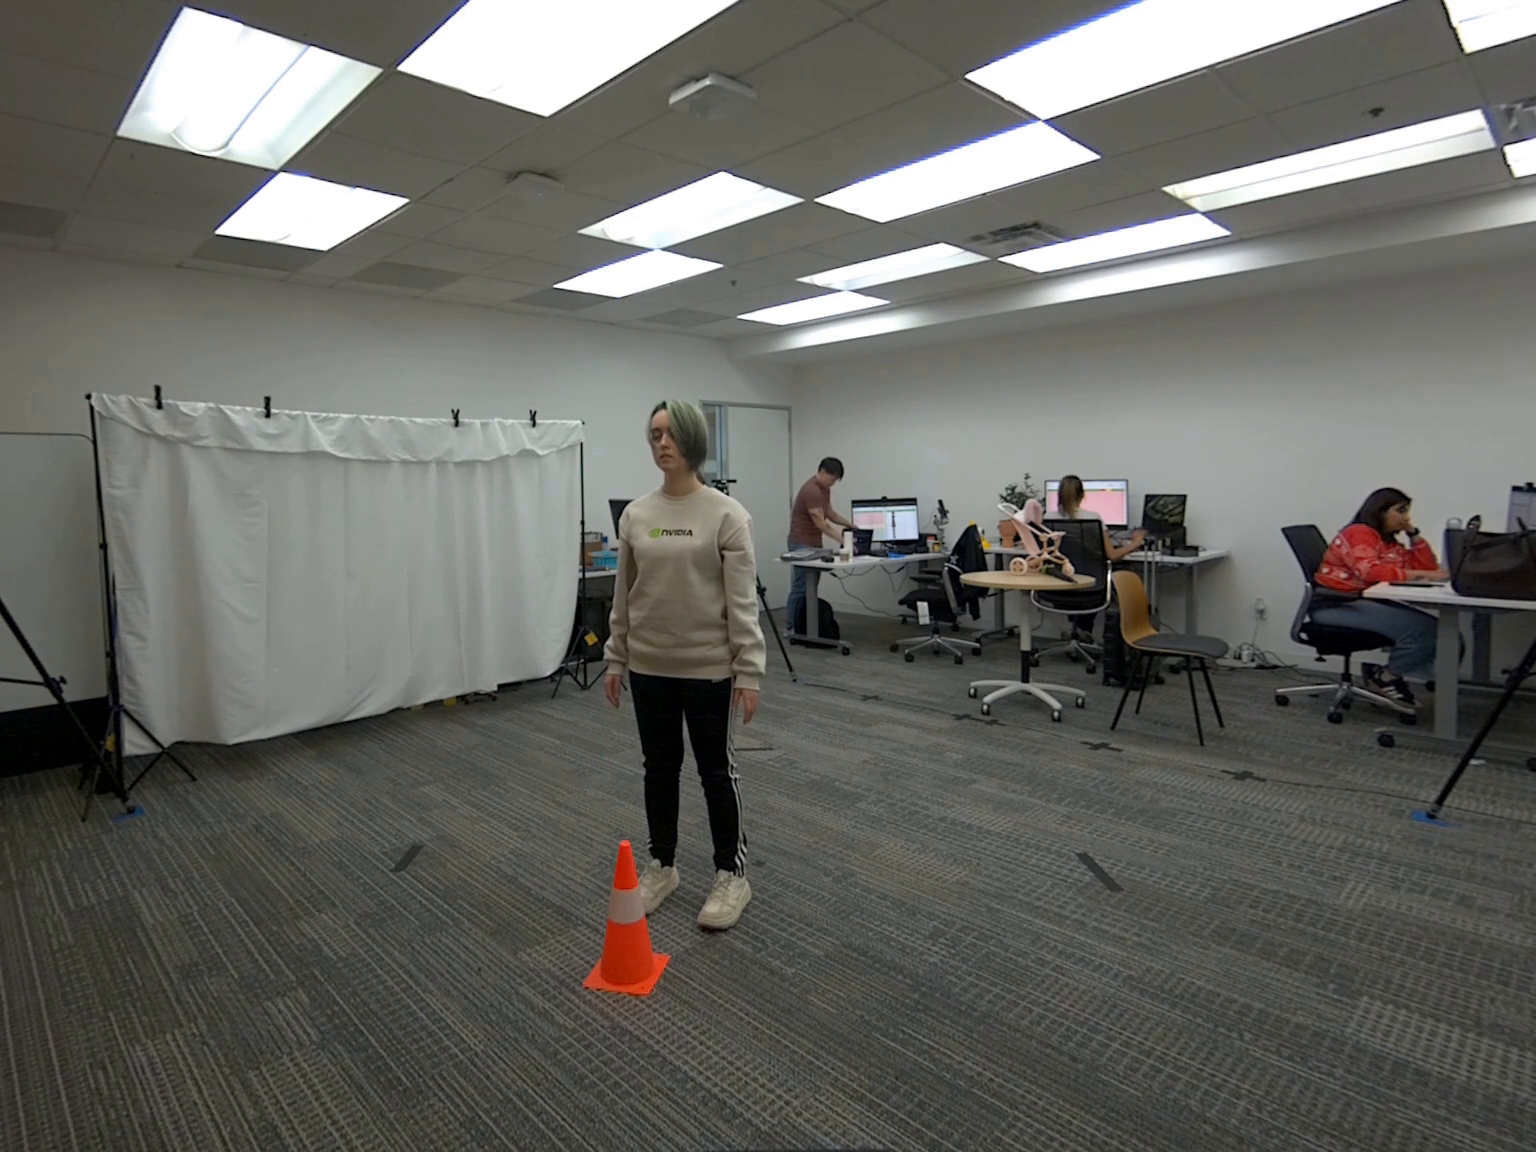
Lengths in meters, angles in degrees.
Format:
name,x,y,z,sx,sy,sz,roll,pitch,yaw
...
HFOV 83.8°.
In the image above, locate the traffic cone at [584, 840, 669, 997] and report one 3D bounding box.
name,x,y,z,sx,sy,sz,roll,pitch,yaw
traffic cone,-0.394,0.949,2.435,0.205,0.382,0.204,2,4,8
